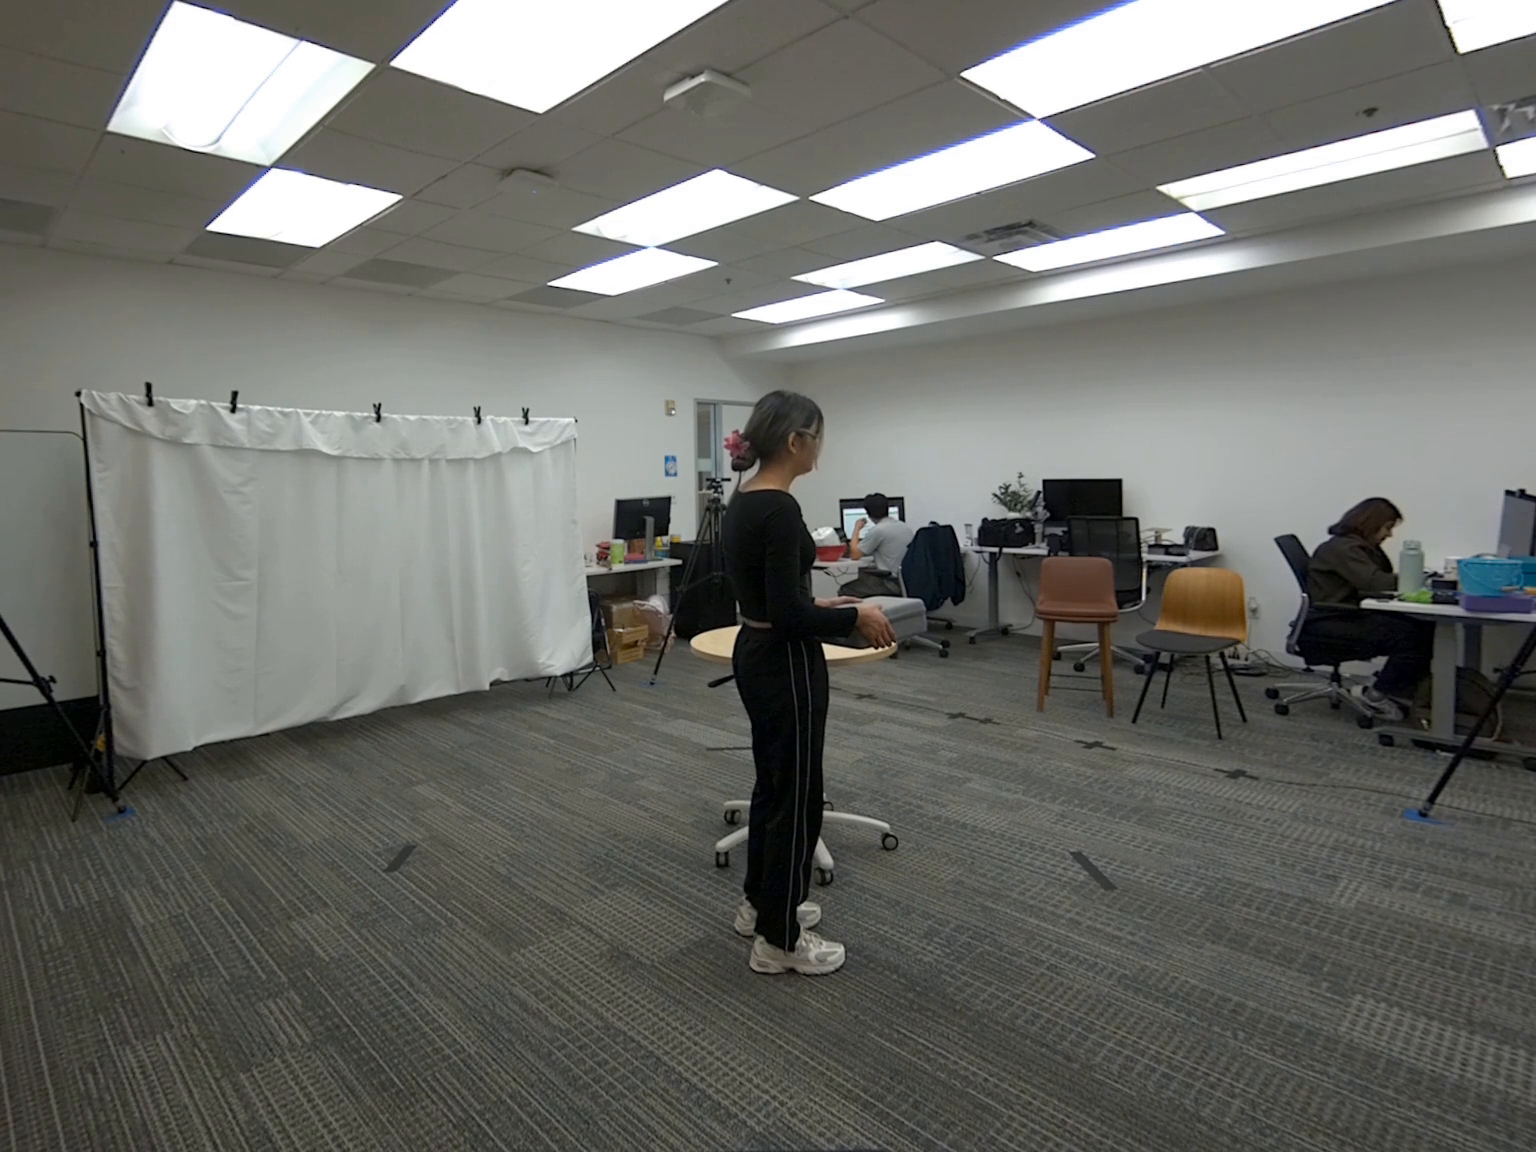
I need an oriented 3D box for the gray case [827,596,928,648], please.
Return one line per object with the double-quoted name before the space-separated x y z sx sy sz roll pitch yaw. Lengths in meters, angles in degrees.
"gray case" 0.297 0.135 2.517 0.257 0.104 0.262 -11 7 -17
